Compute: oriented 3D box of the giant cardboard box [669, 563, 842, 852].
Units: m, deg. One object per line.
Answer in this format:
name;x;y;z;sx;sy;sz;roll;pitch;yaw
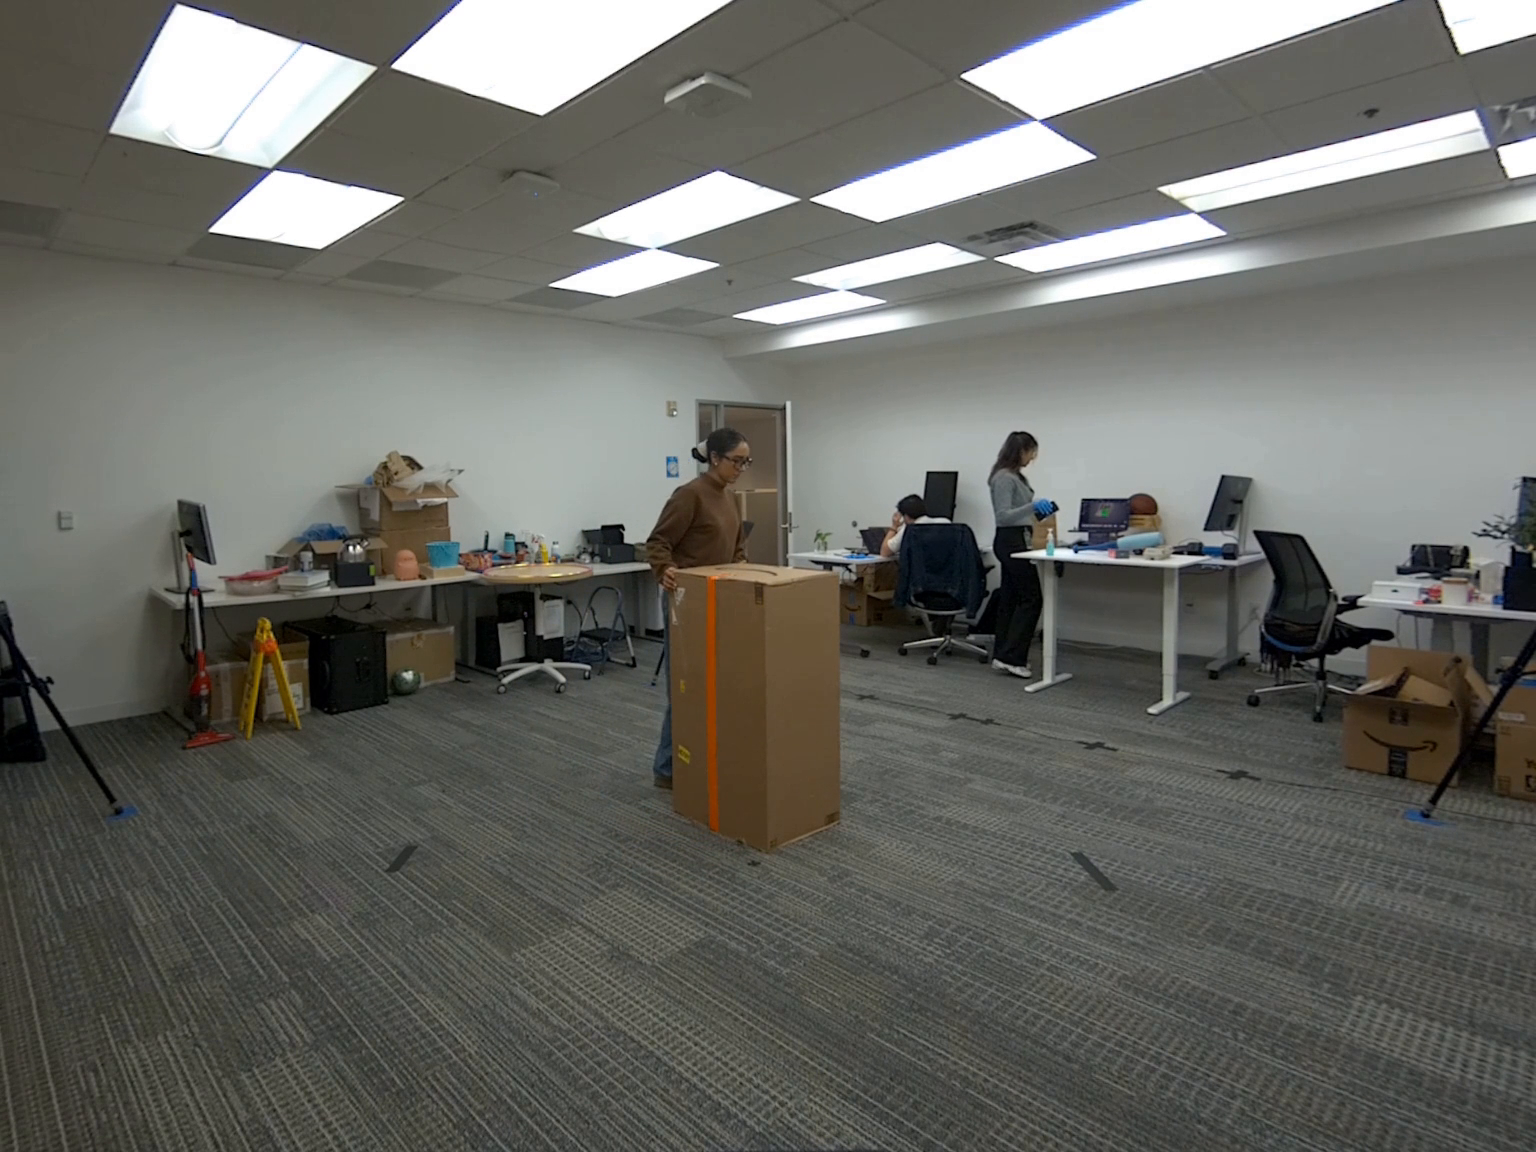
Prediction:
giant cardboard box;-0.055;0.492;3.491;0.415;1.022;0.595;-5;6;-42
